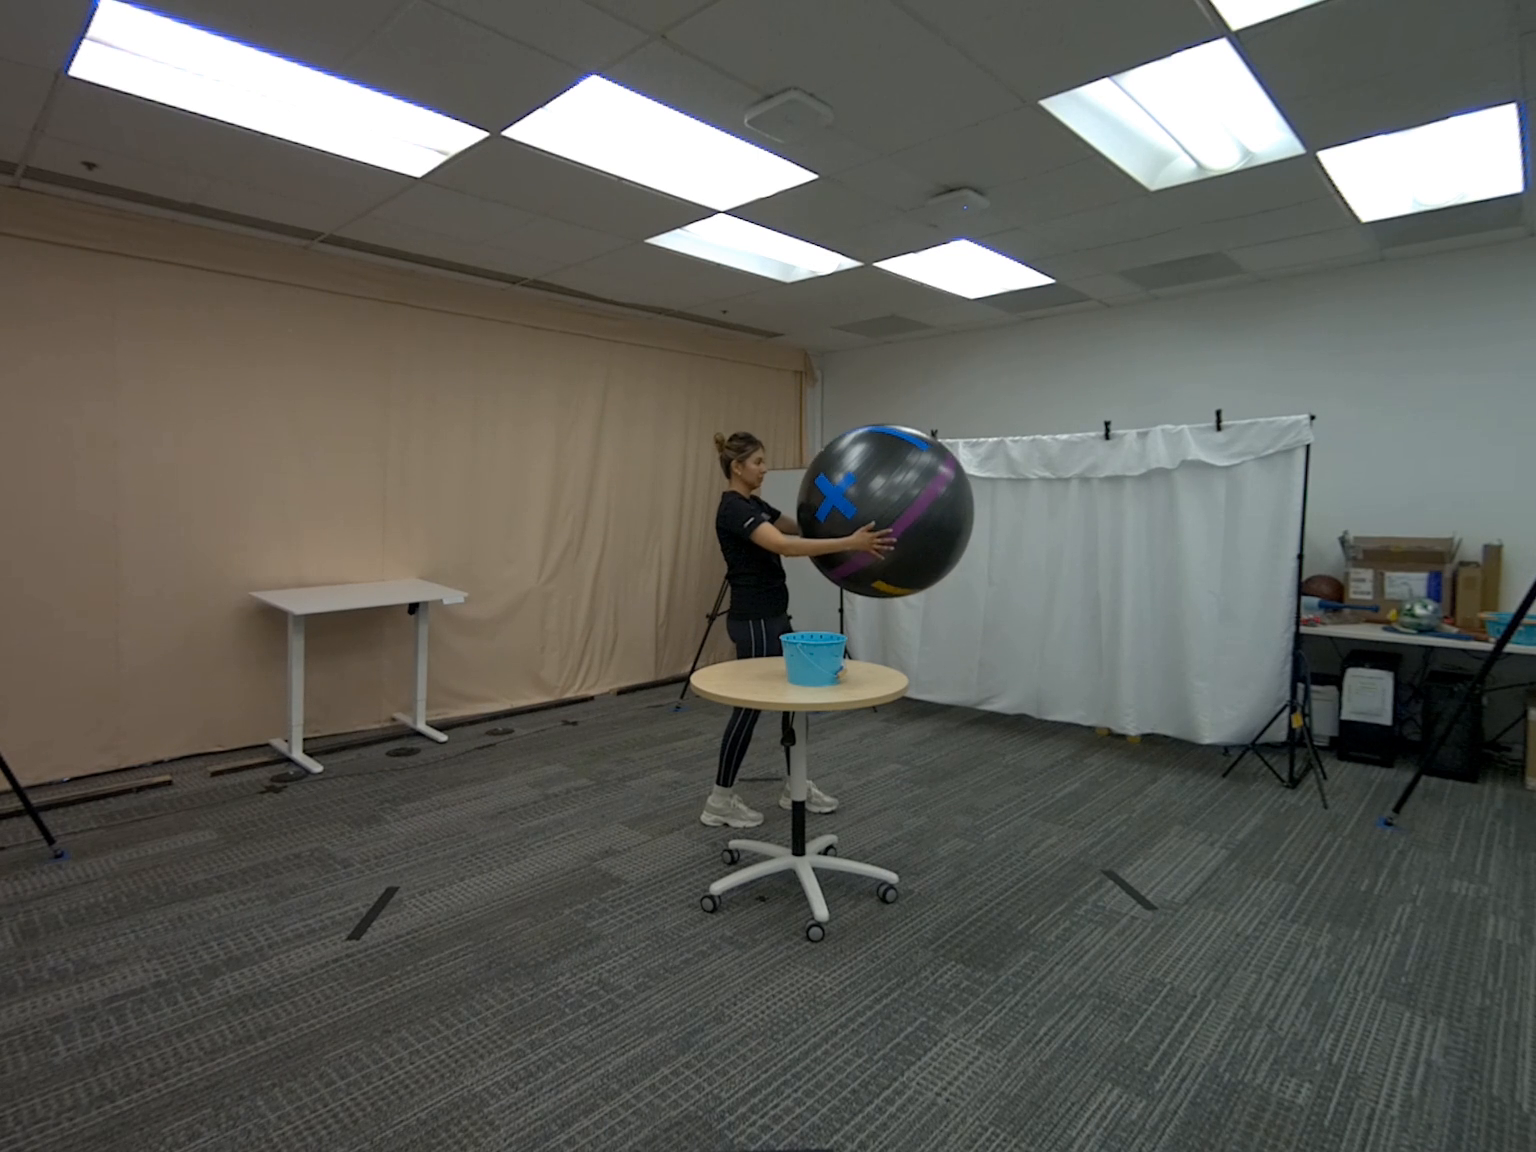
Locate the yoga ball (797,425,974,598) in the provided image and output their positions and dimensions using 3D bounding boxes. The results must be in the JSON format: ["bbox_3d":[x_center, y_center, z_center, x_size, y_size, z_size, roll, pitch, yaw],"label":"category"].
[{"bbox_3d":[0.515,-0.272,3.666,0.757,0.756,0.761,0,4,-2],"label":"yoga ball"}]
